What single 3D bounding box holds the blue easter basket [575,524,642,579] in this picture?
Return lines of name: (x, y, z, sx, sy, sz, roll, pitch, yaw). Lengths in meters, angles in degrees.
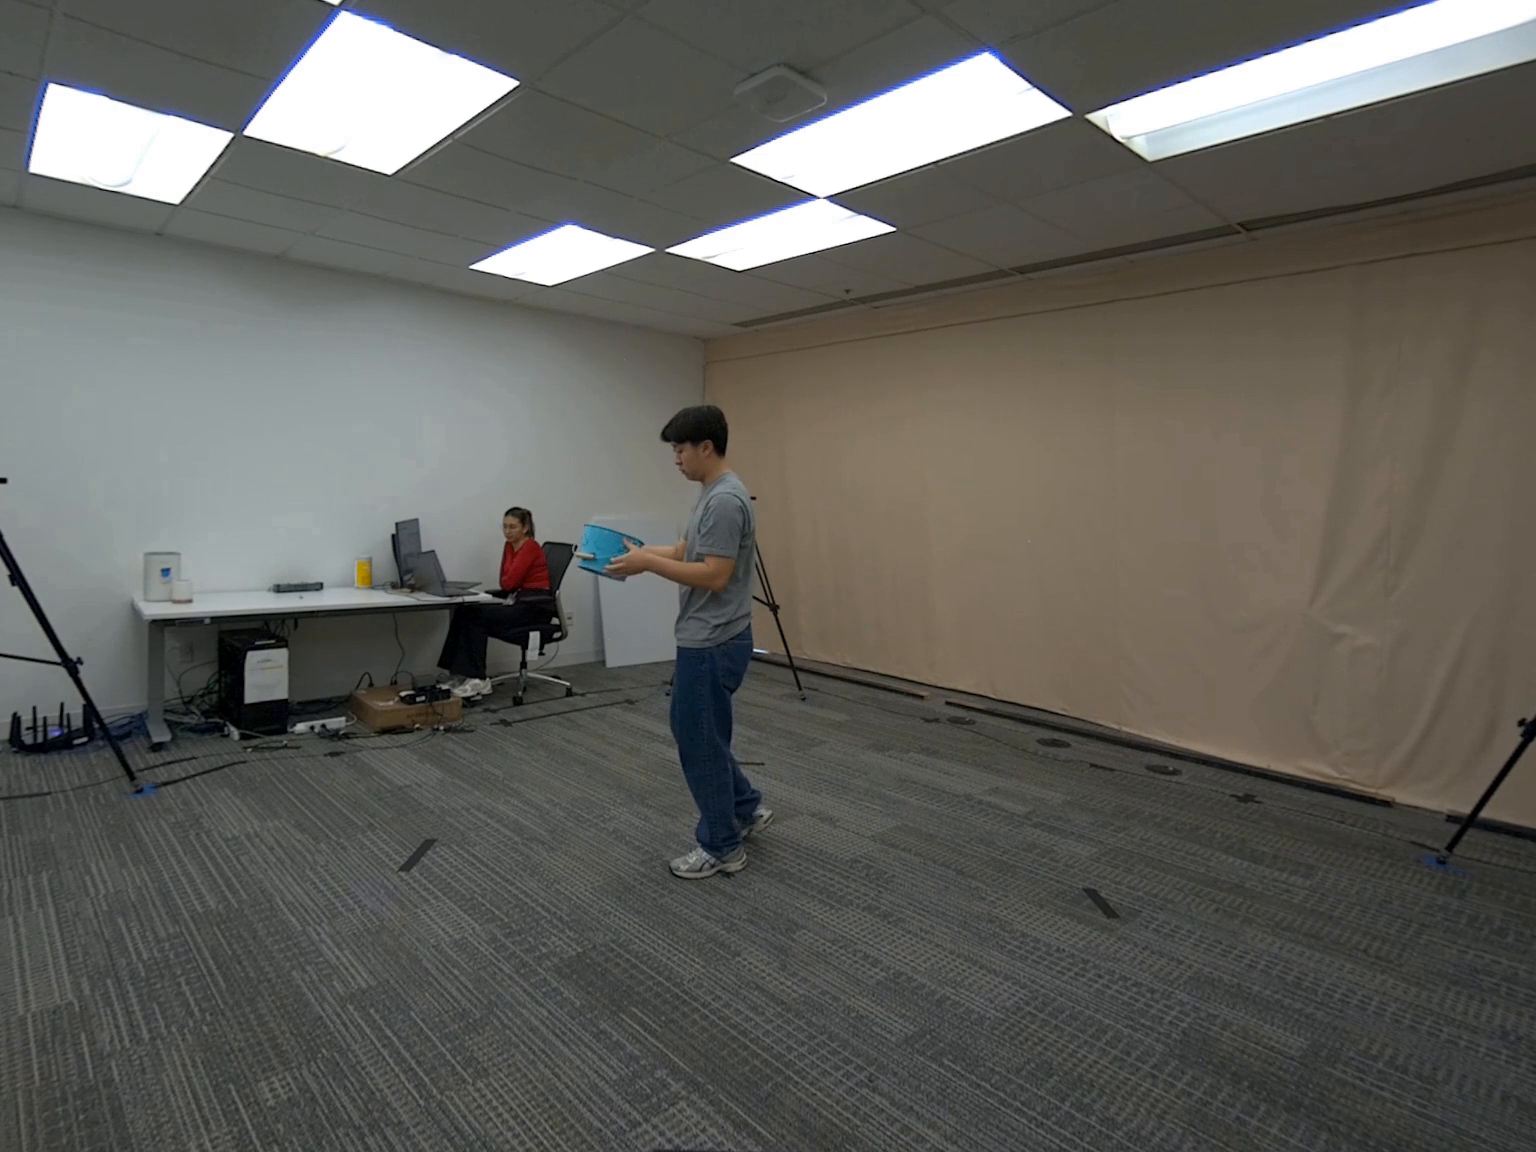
blue easter basket: (-0.583, -0.077, 3.059, 0.244, 0.156, 0.242, 18, -9, 2)
